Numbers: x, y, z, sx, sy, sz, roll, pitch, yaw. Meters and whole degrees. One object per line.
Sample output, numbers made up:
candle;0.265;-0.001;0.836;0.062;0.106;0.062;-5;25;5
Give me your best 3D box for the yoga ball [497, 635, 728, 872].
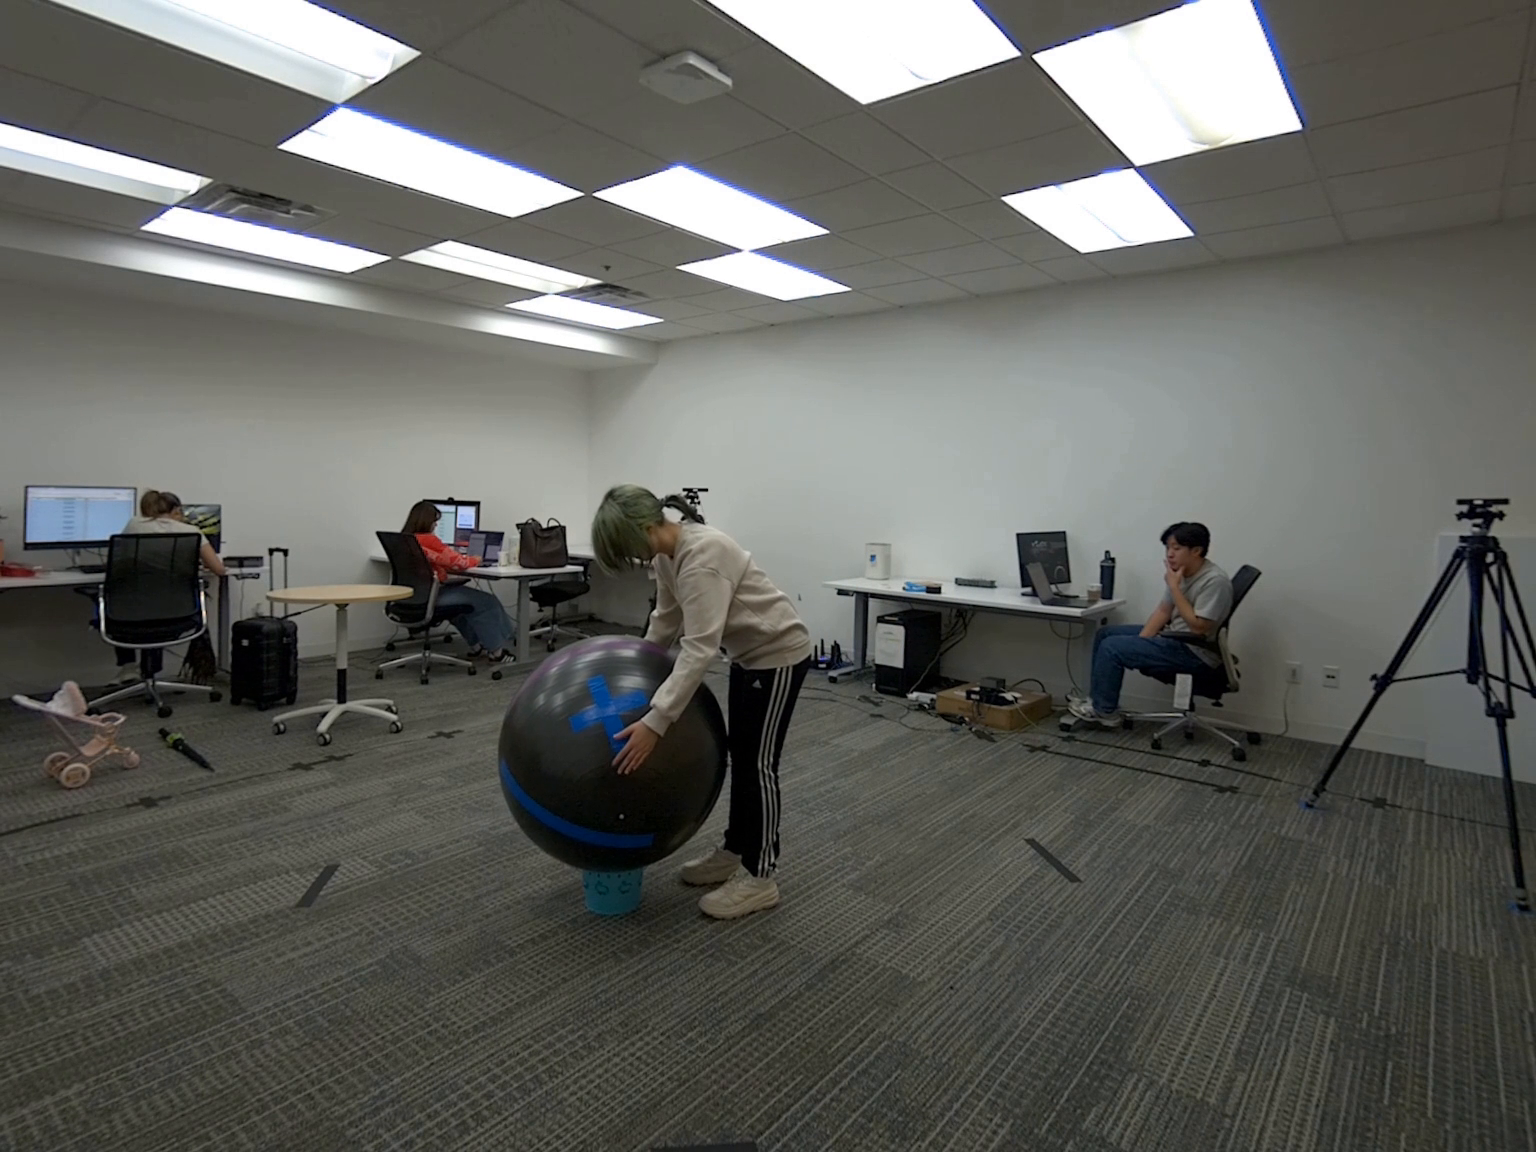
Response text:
yoga ball;-0.532;0.584;2.828;0.757;0.756;0.761;1;4;-2
